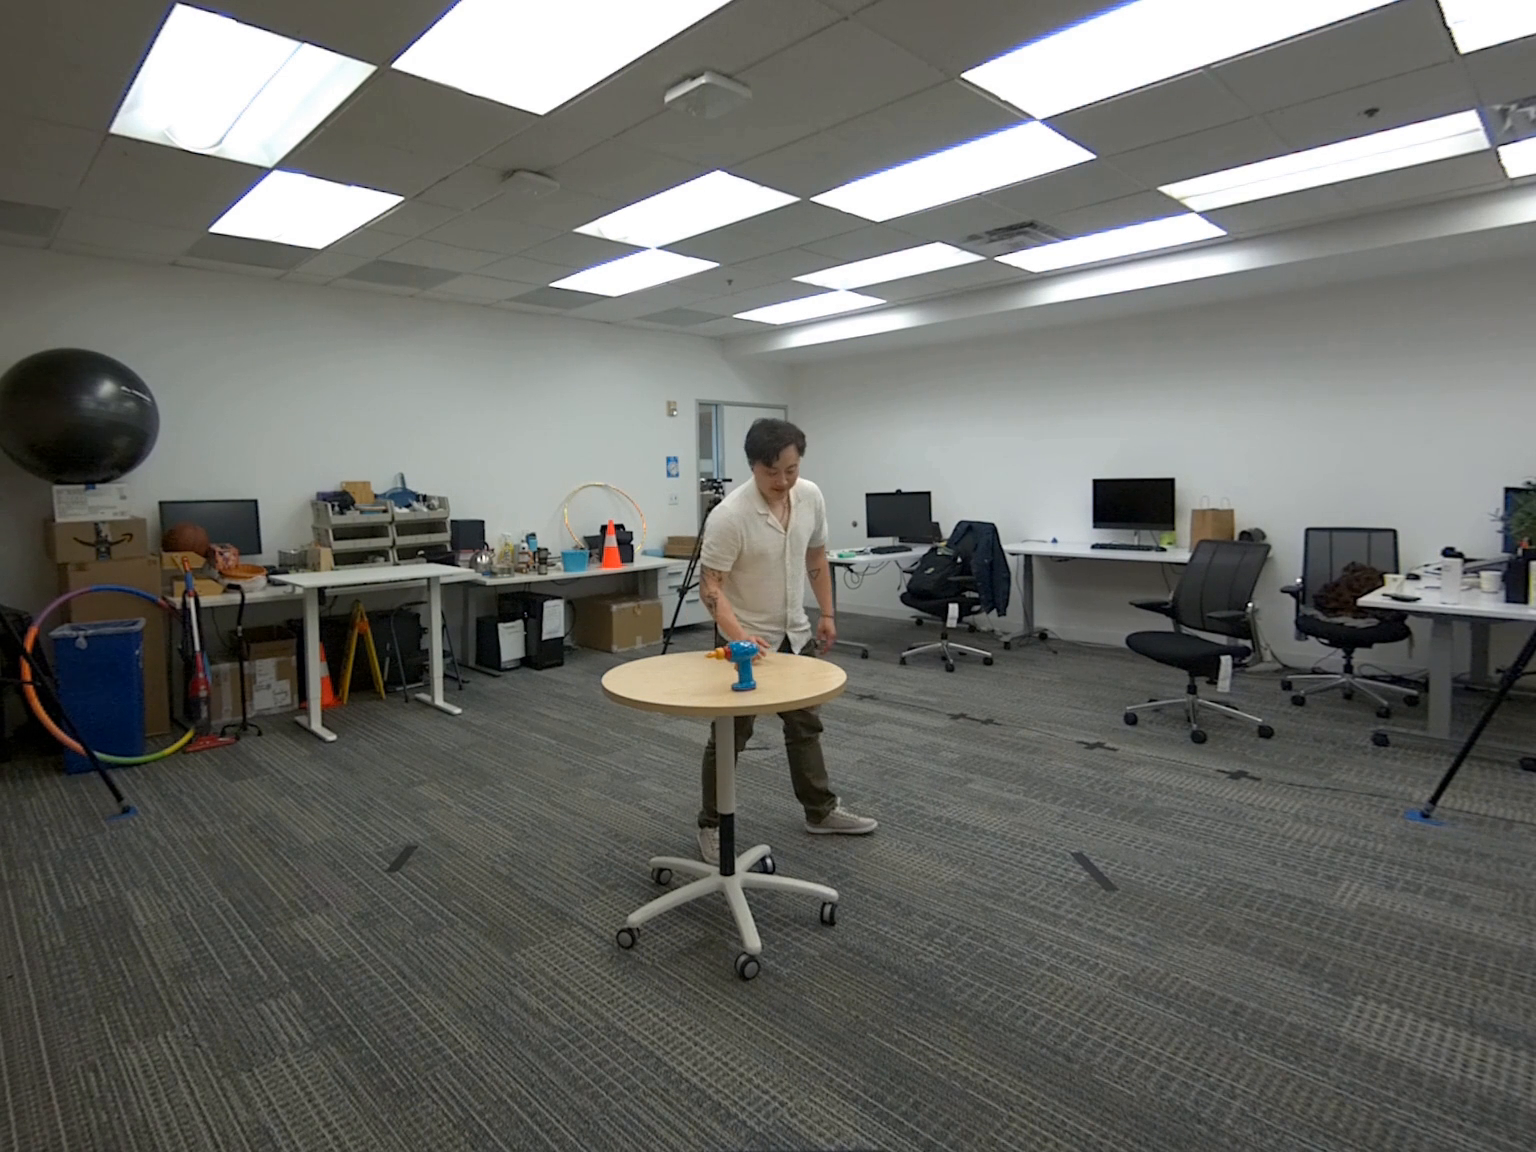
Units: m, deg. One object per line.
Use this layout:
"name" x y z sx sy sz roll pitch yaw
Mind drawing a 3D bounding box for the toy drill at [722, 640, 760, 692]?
"toy drill" -0.095 0.263 2.471 0.166 0.145 0.063 -3 5 -30
